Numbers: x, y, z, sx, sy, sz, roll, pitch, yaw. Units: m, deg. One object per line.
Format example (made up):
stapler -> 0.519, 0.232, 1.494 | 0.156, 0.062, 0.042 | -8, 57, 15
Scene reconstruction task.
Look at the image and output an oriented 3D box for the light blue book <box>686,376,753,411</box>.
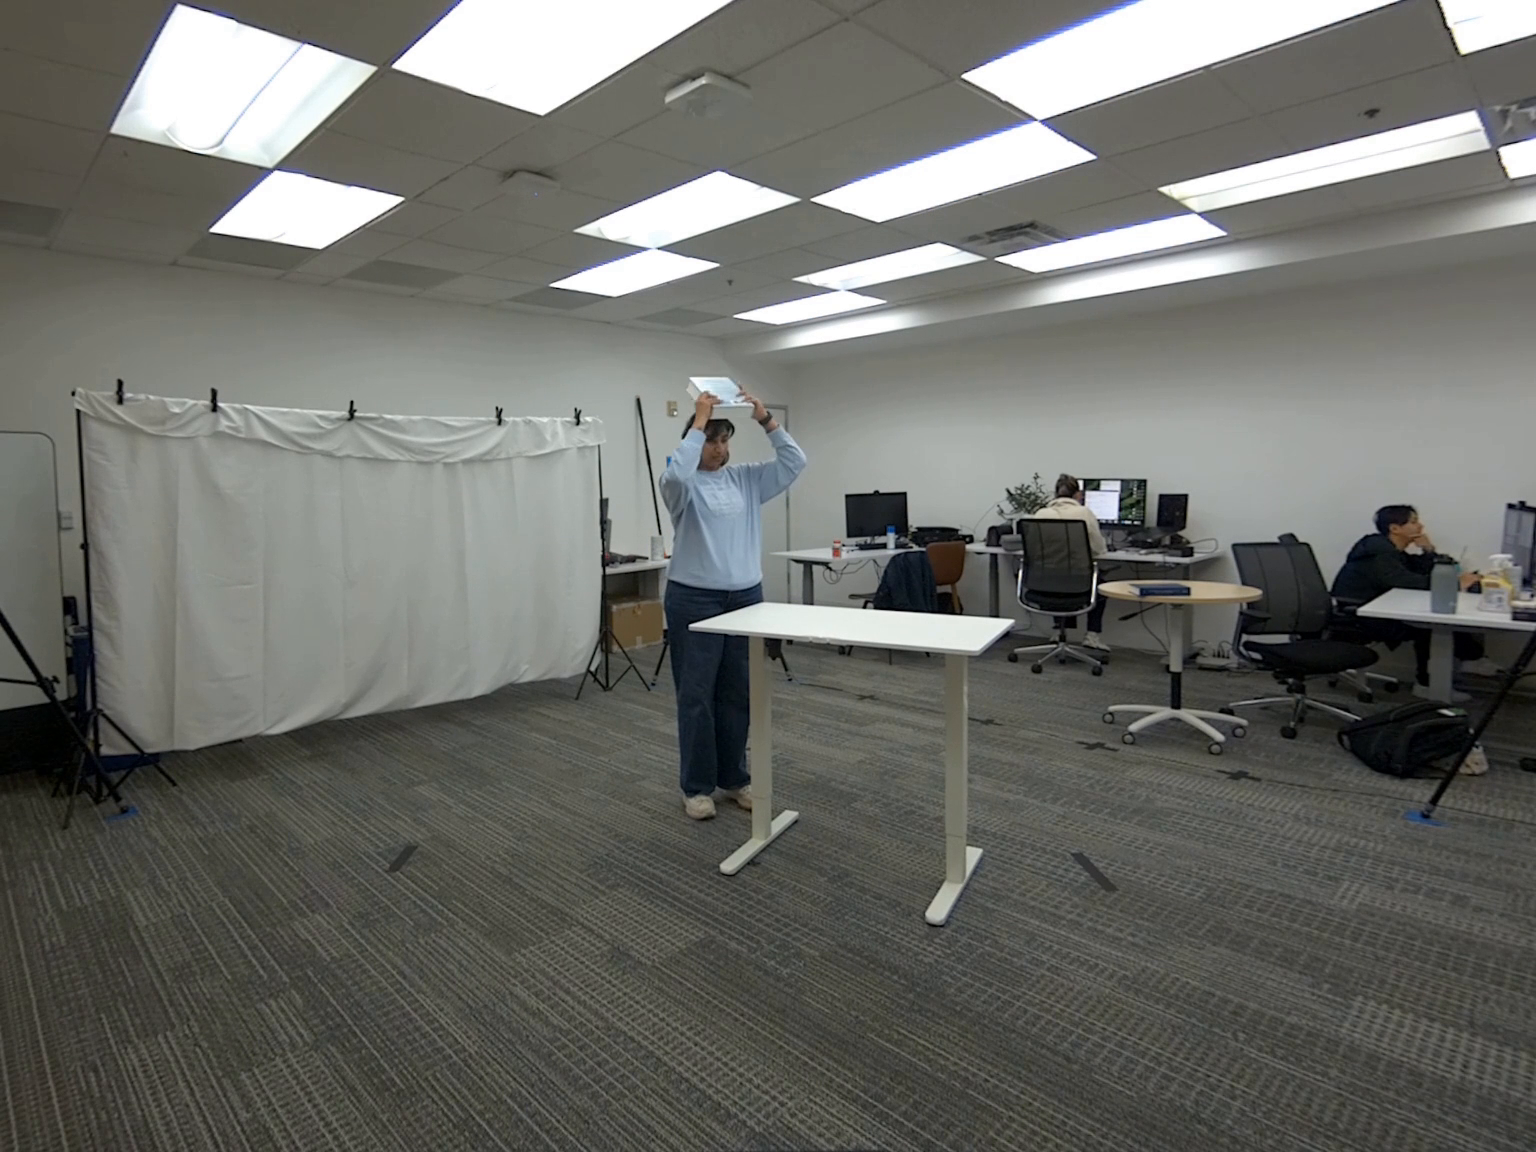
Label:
light blue book -> -0.197, -0.728, 3.512 | 0.187, 0.058, 0.271 | -7, 39, -26
